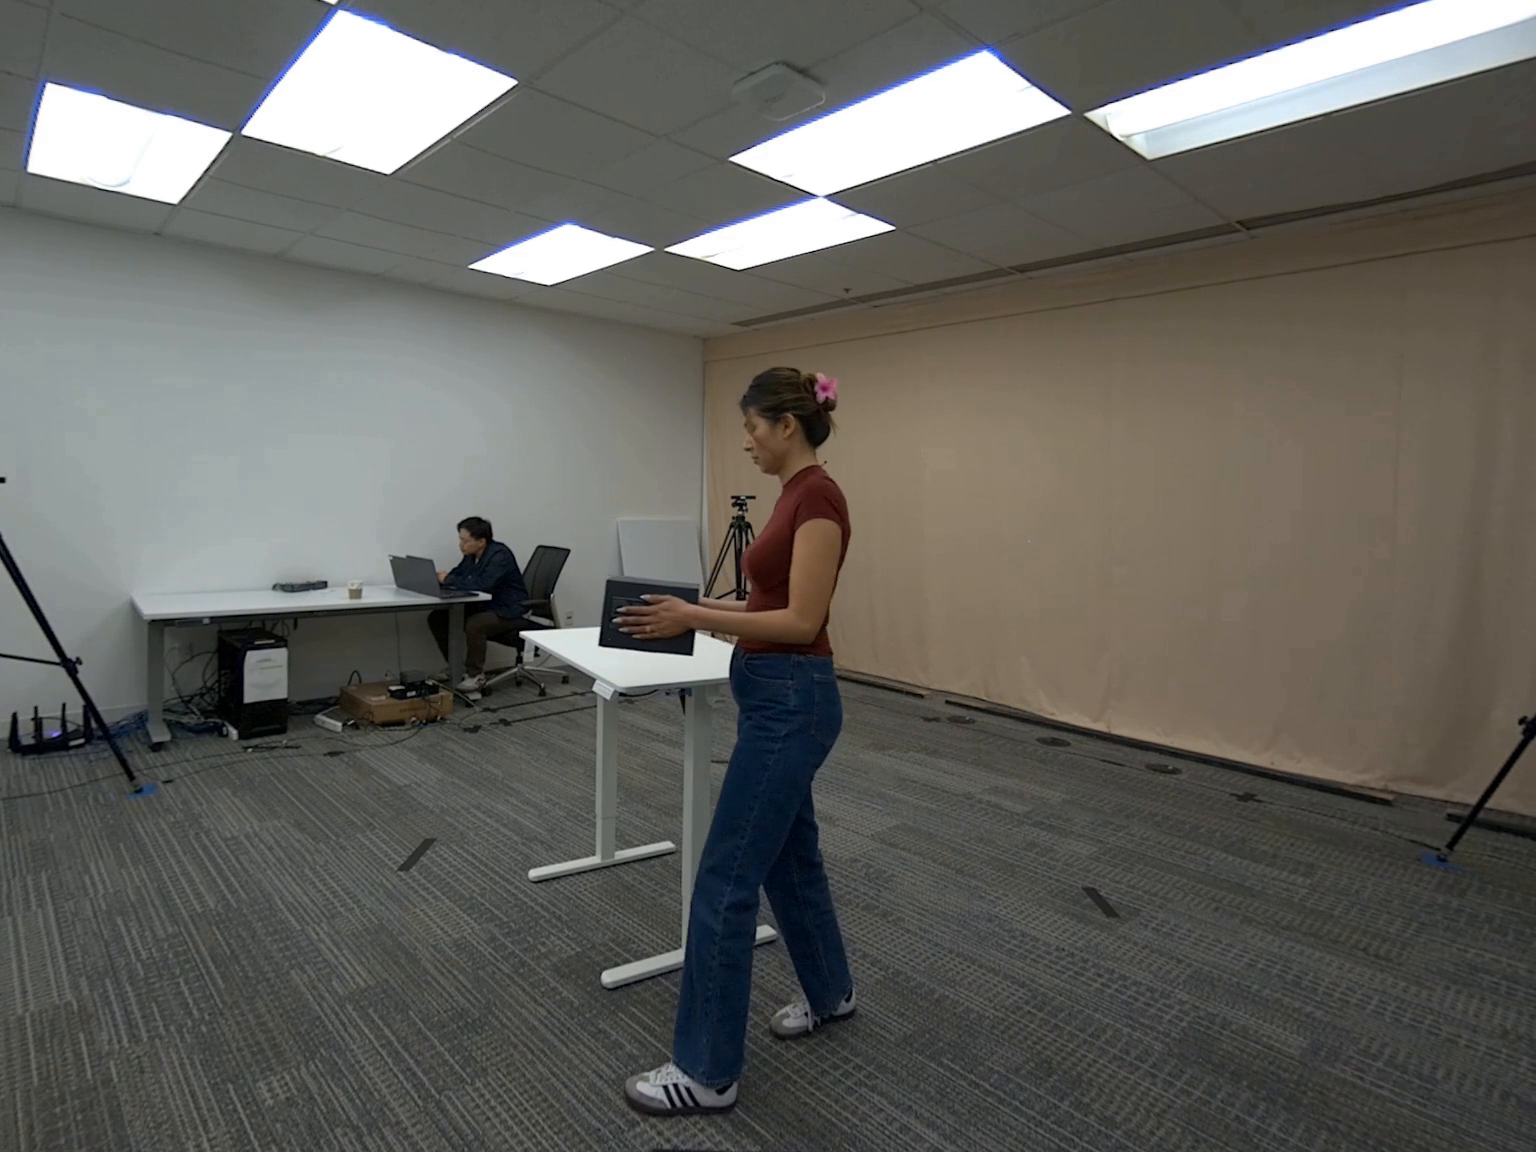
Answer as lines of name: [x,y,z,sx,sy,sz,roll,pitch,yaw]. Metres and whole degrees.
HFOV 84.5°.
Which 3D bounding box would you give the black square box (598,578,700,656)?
black square box: [-0.284,0.088,2.016,0.218,0.156,0.227,6,2,3]
